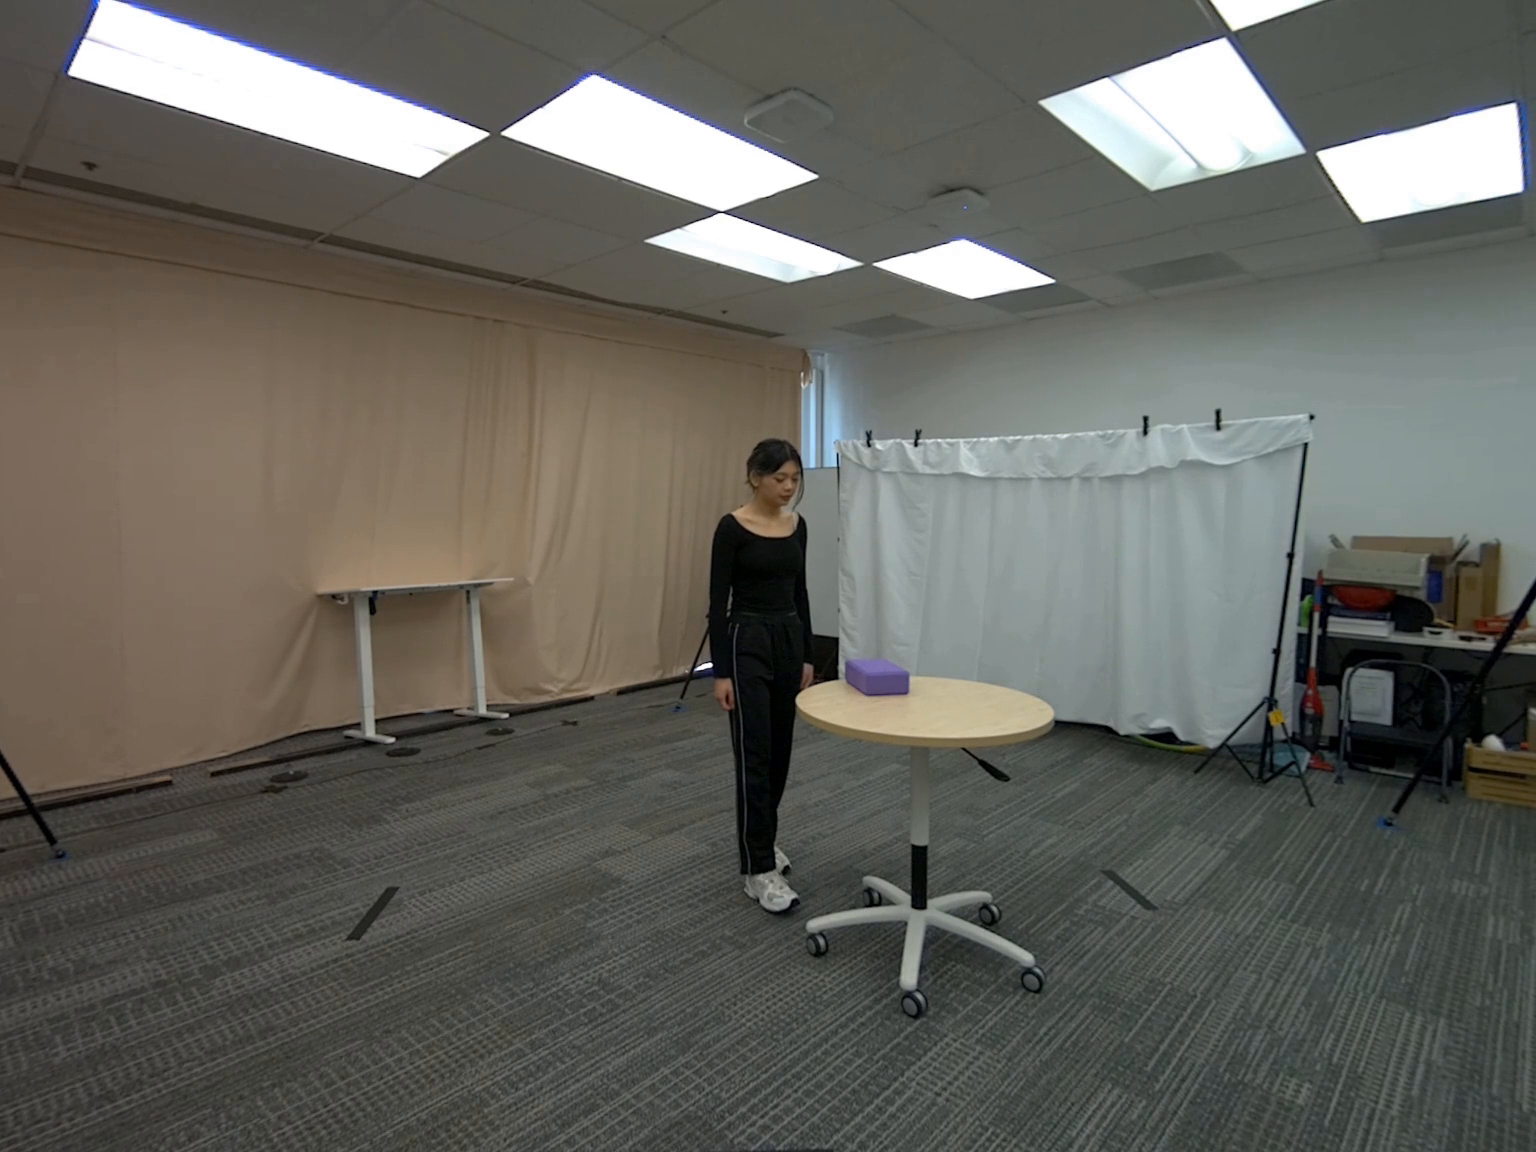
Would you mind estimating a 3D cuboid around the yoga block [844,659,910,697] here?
[{"bbox_3d":[0.367,0.336,2.779,0.148,0.076,0.232,0,4,-8],"label":"yoga block"}]
